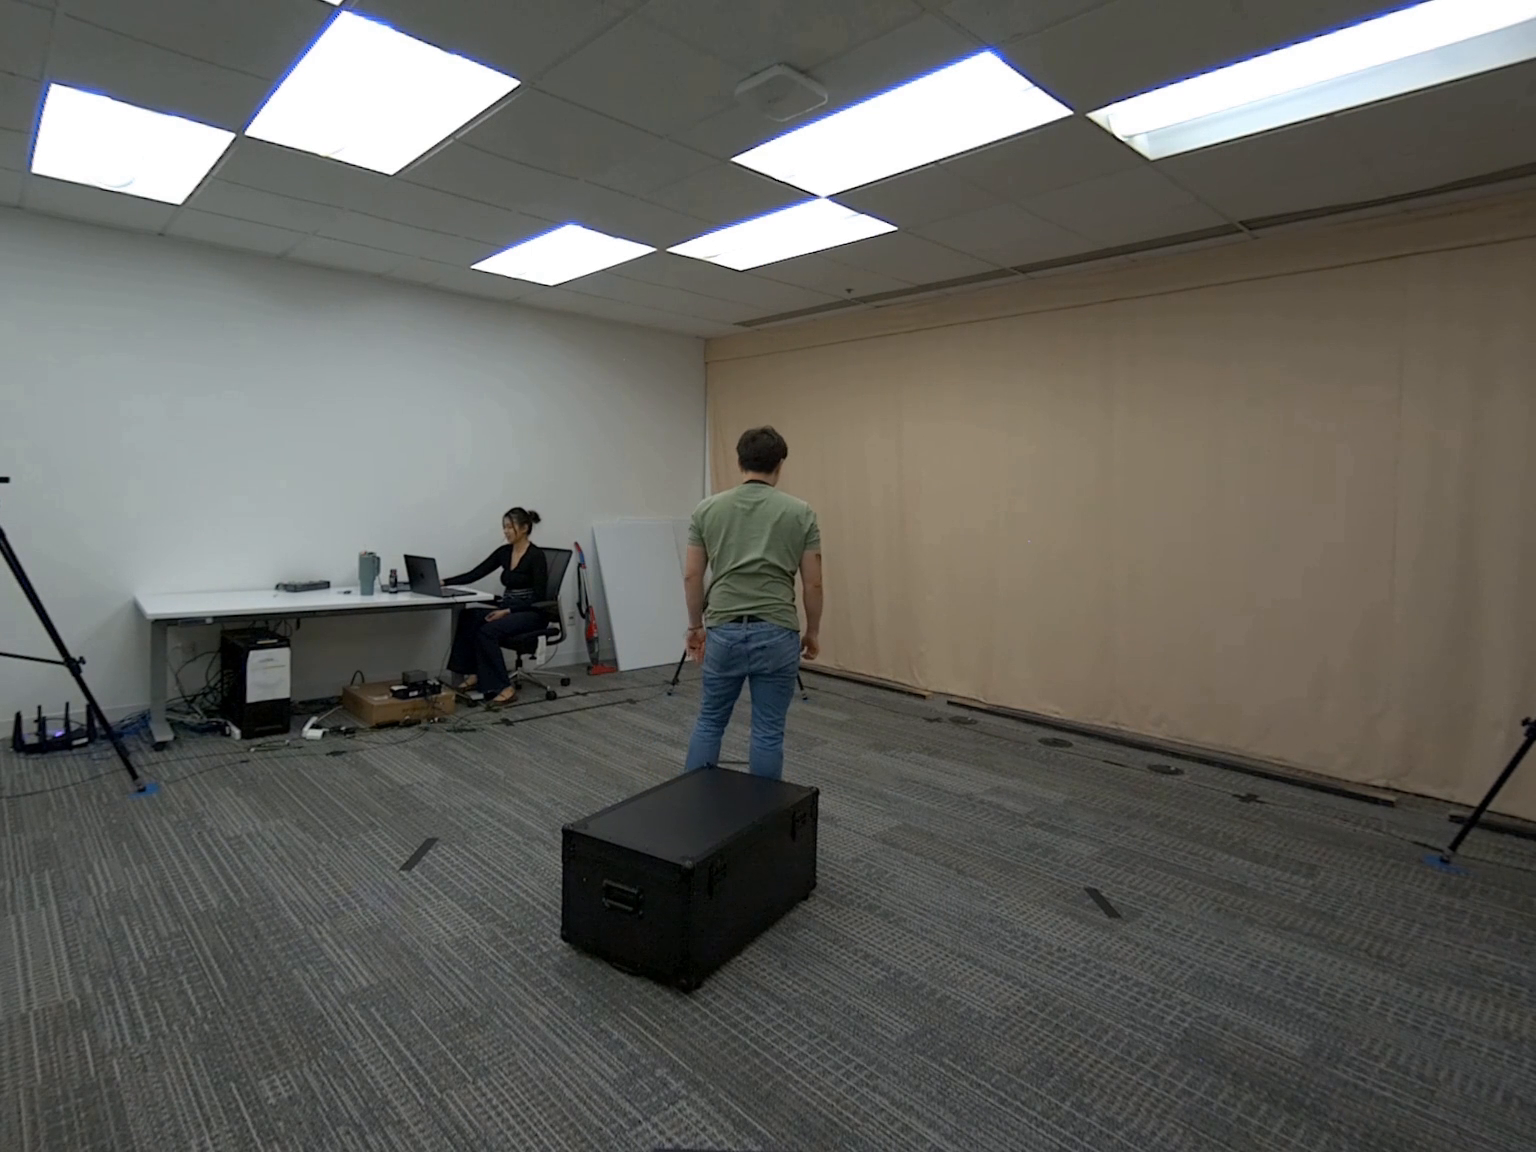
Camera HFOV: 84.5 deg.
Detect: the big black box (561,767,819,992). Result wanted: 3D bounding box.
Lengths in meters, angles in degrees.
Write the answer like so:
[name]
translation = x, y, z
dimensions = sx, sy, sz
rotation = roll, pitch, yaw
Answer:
[big black box]
translation = -0.214, 0.939, 2.786
dimensions = 0.533, 0.395, 0.845
rotation = 3, 5, 31
